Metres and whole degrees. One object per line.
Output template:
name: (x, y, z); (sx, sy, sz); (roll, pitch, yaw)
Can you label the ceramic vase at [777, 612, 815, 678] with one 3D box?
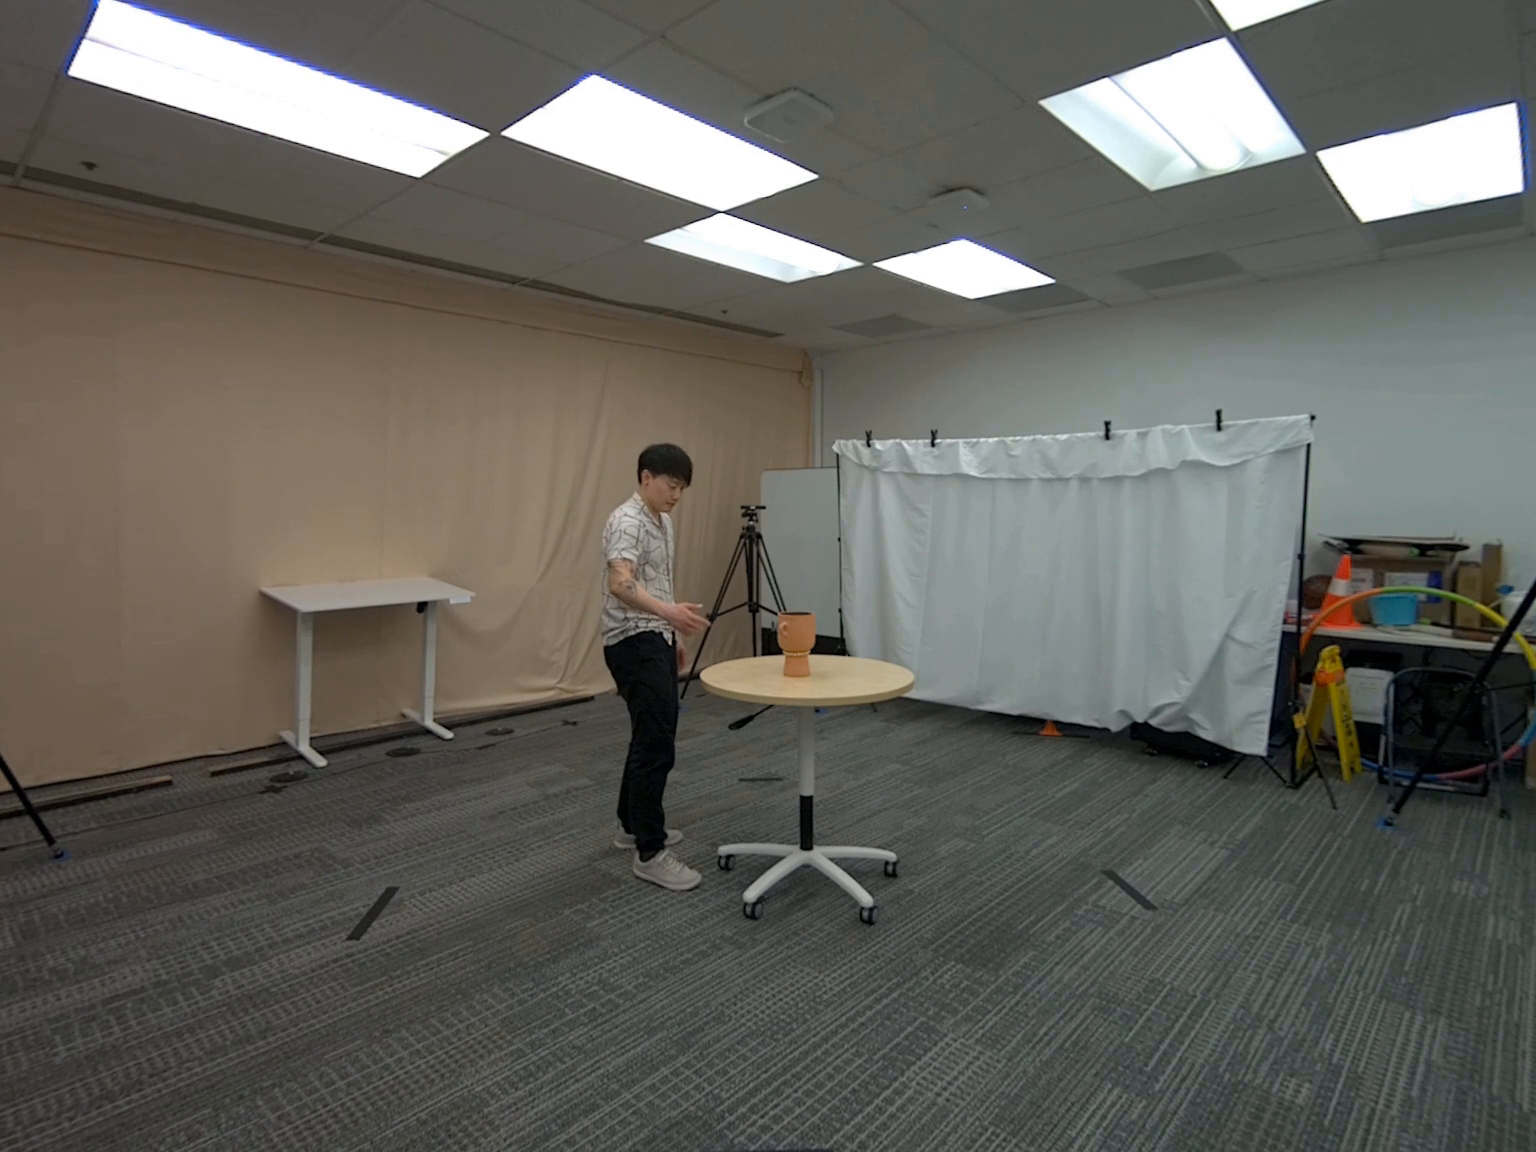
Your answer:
ceramic vase: (0.106, 0.248, 3.023); (0.157, 0.219, 0.136); (0, 2, -11)
